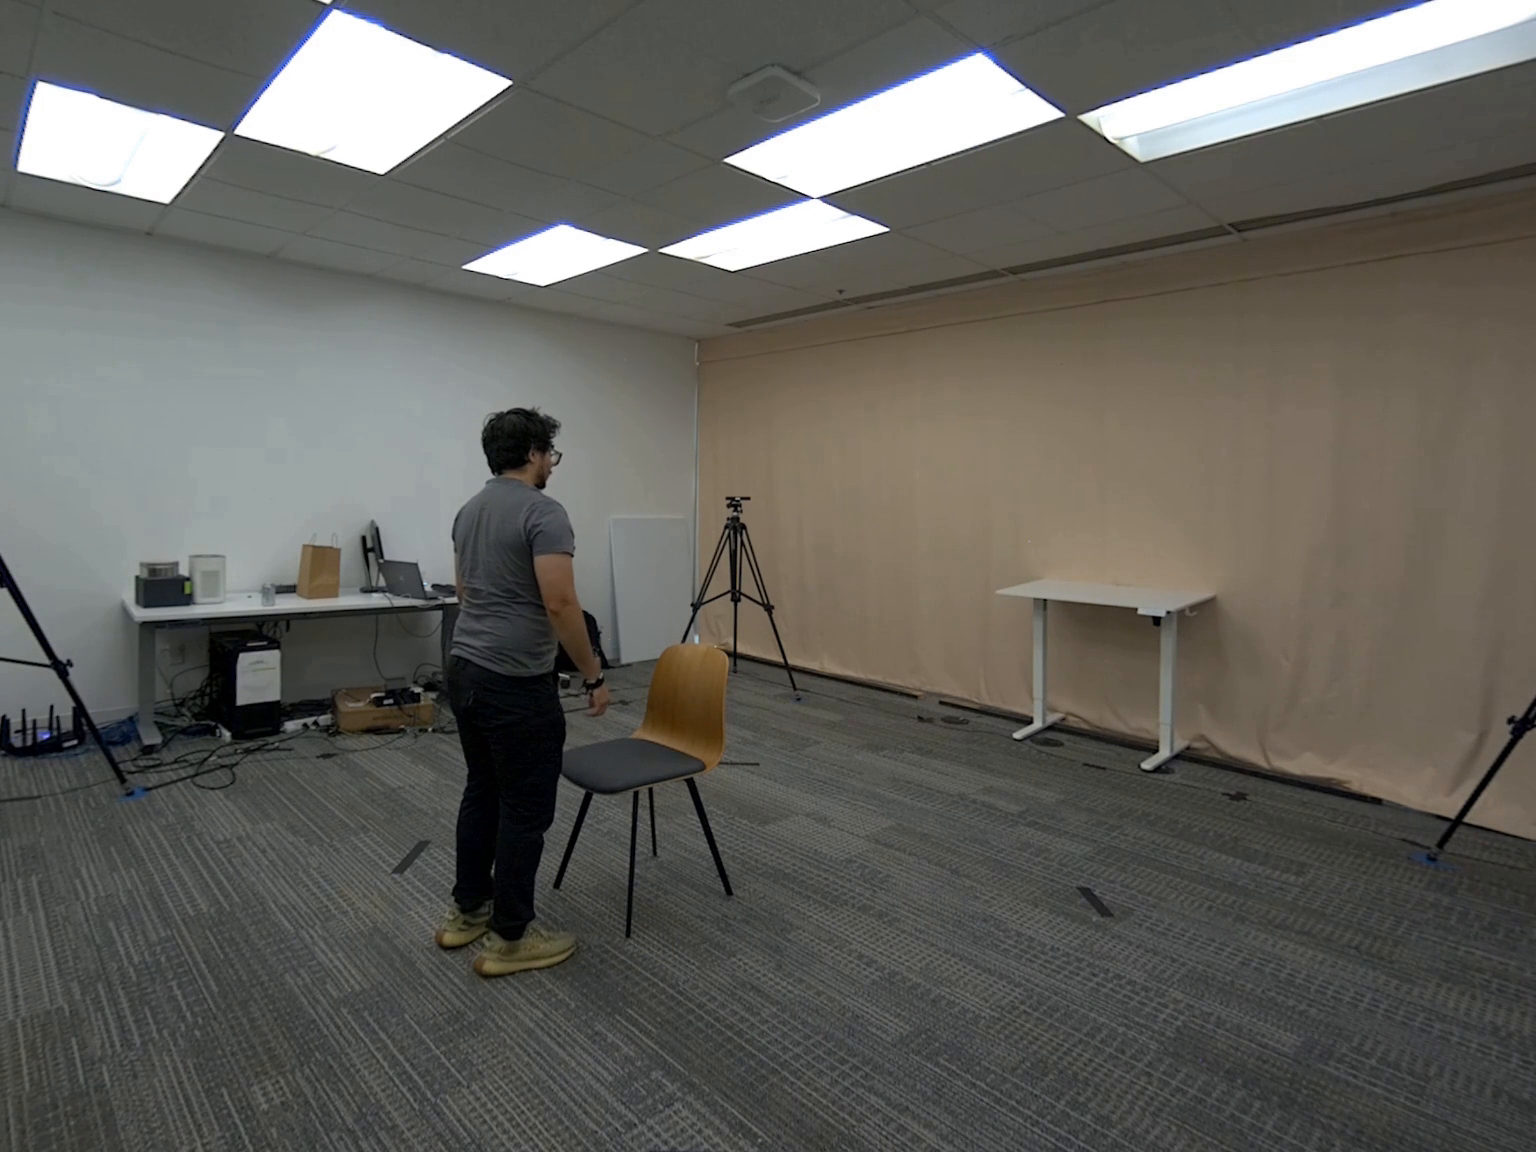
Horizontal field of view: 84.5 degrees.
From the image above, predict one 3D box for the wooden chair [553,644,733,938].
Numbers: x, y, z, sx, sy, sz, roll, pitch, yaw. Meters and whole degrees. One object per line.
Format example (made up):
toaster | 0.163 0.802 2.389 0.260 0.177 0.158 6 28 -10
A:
wooden chair | -0.440 0.692 2.928 0.510 0.877 0.490 4 1 -44
